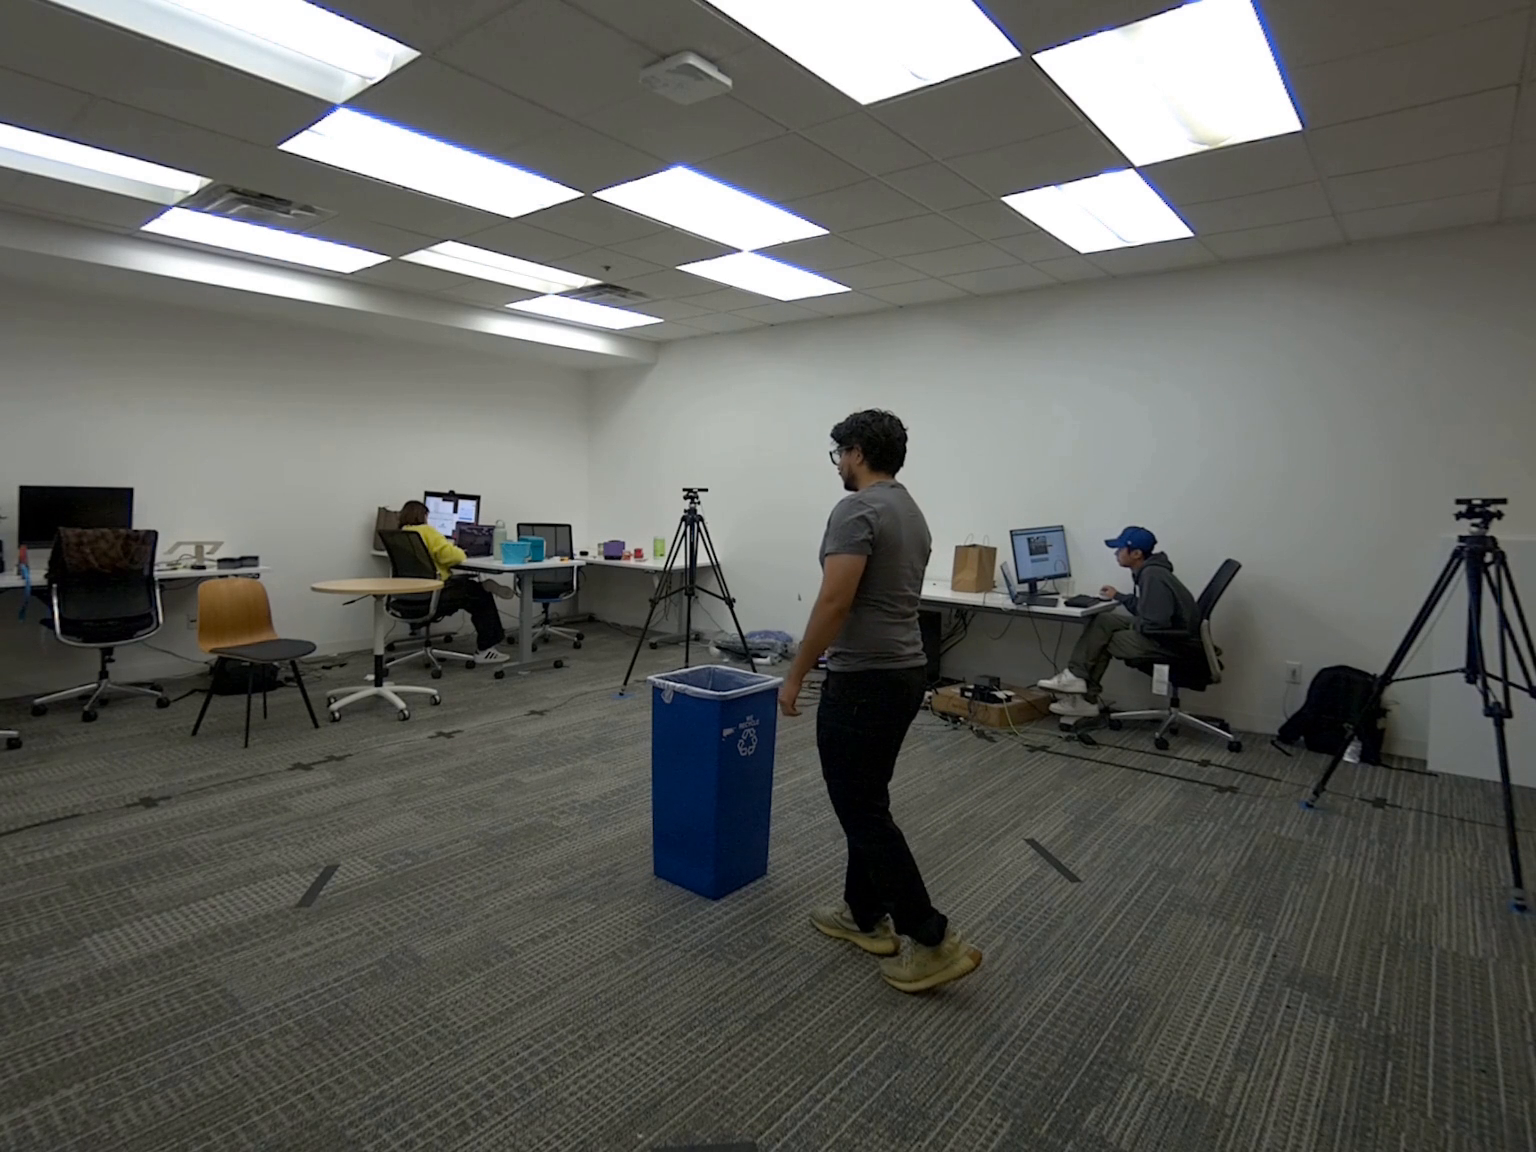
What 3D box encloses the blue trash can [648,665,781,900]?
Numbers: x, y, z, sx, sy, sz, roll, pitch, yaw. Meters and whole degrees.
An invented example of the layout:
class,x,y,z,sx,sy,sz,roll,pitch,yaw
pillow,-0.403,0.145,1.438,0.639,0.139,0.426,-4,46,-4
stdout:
class,x,y,z,sx,sy,sz,roll,pitch,yaw
blue trash can,-0.215,0.717,3.061,0.387,0.712,0.367,5,4,38
